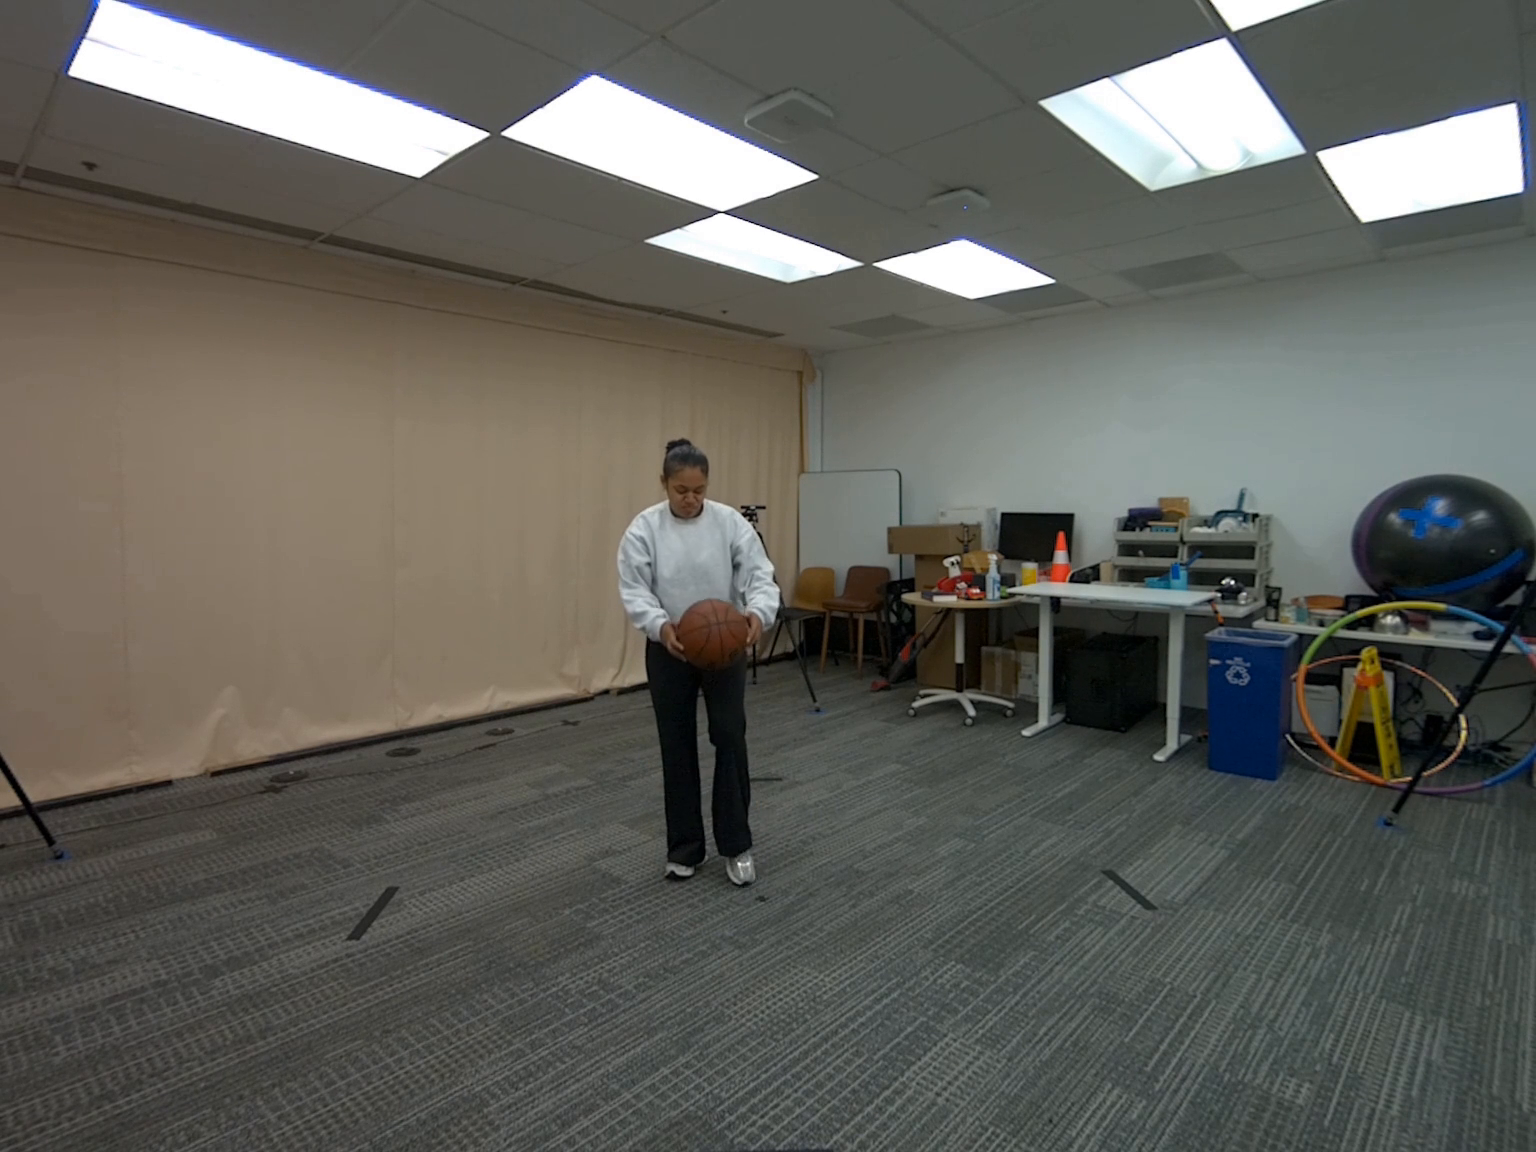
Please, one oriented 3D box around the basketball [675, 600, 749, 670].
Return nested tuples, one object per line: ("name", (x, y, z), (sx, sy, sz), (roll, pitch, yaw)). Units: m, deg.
("basketball", (-0.177, 0.193, 2.824), (0.236, 0.235, 0.237), (0, 4, -2))
